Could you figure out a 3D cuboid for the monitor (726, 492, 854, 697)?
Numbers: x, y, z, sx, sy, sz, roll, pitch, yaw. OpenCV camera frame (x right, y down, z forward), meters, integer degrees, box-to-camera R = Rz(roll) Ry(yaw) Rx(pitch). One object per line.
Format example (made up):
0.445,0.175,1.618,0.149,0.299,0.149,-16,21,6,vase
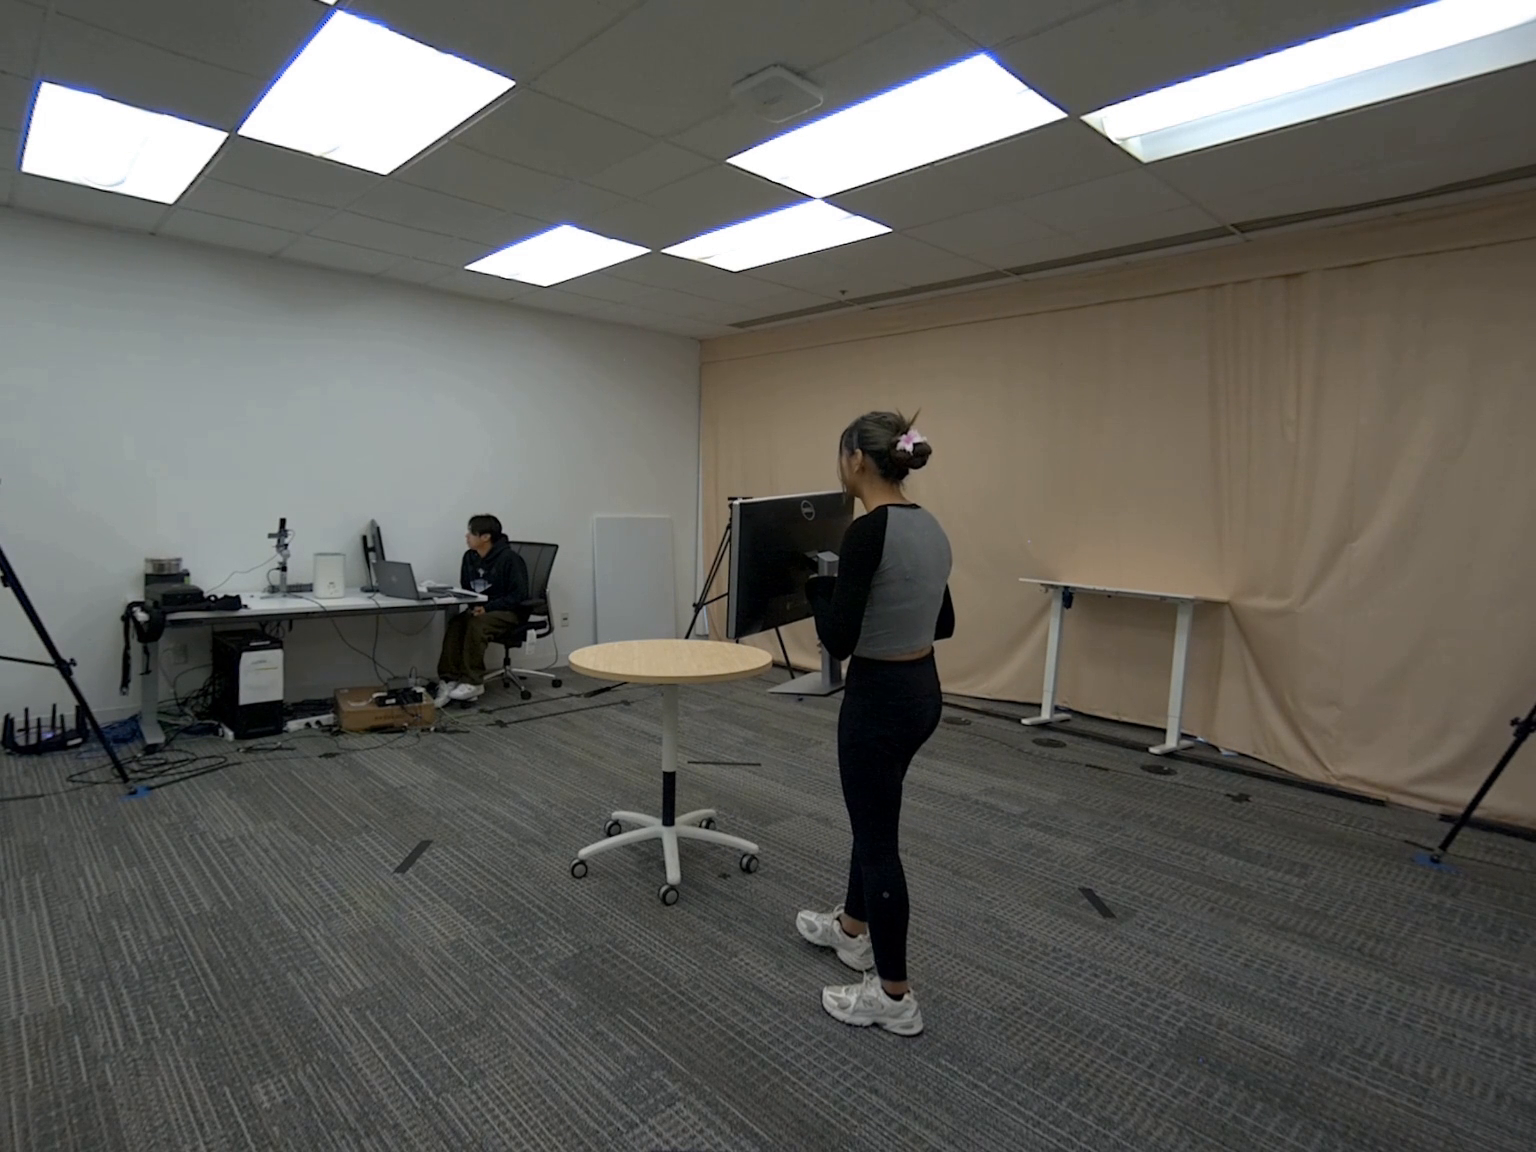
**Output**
0.112,0.043,2.354,0.191,0.522,0.529,-5,3,38,monitor
